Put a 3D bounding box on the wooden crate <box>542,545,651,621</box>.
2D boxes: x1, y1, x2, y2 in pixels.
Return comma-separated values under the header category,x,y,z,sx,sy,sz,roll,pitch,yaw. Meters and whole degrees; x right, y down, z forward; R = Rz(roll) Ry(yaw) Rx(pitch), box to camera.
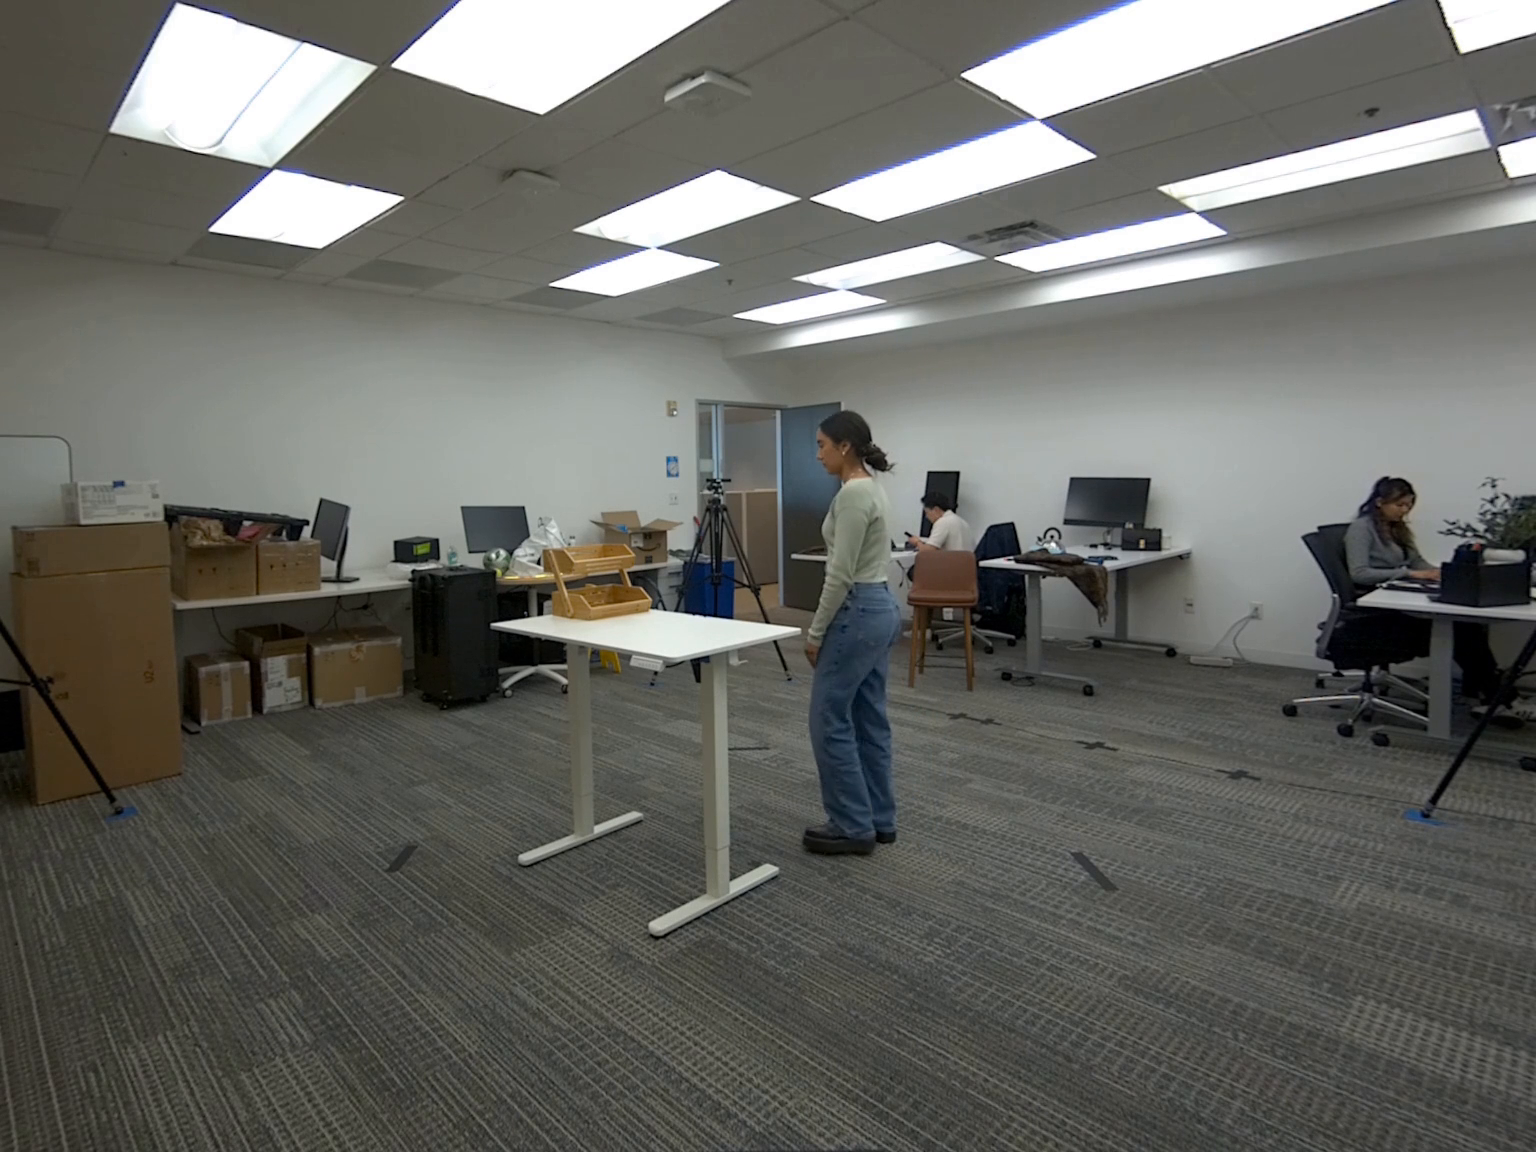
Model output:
category,x,y,z,sx,sy,sz,roll,pitch,yaw
wooden crate,-0.669,0.011,3.371,0.311,0.272,0.316,2,6,43
